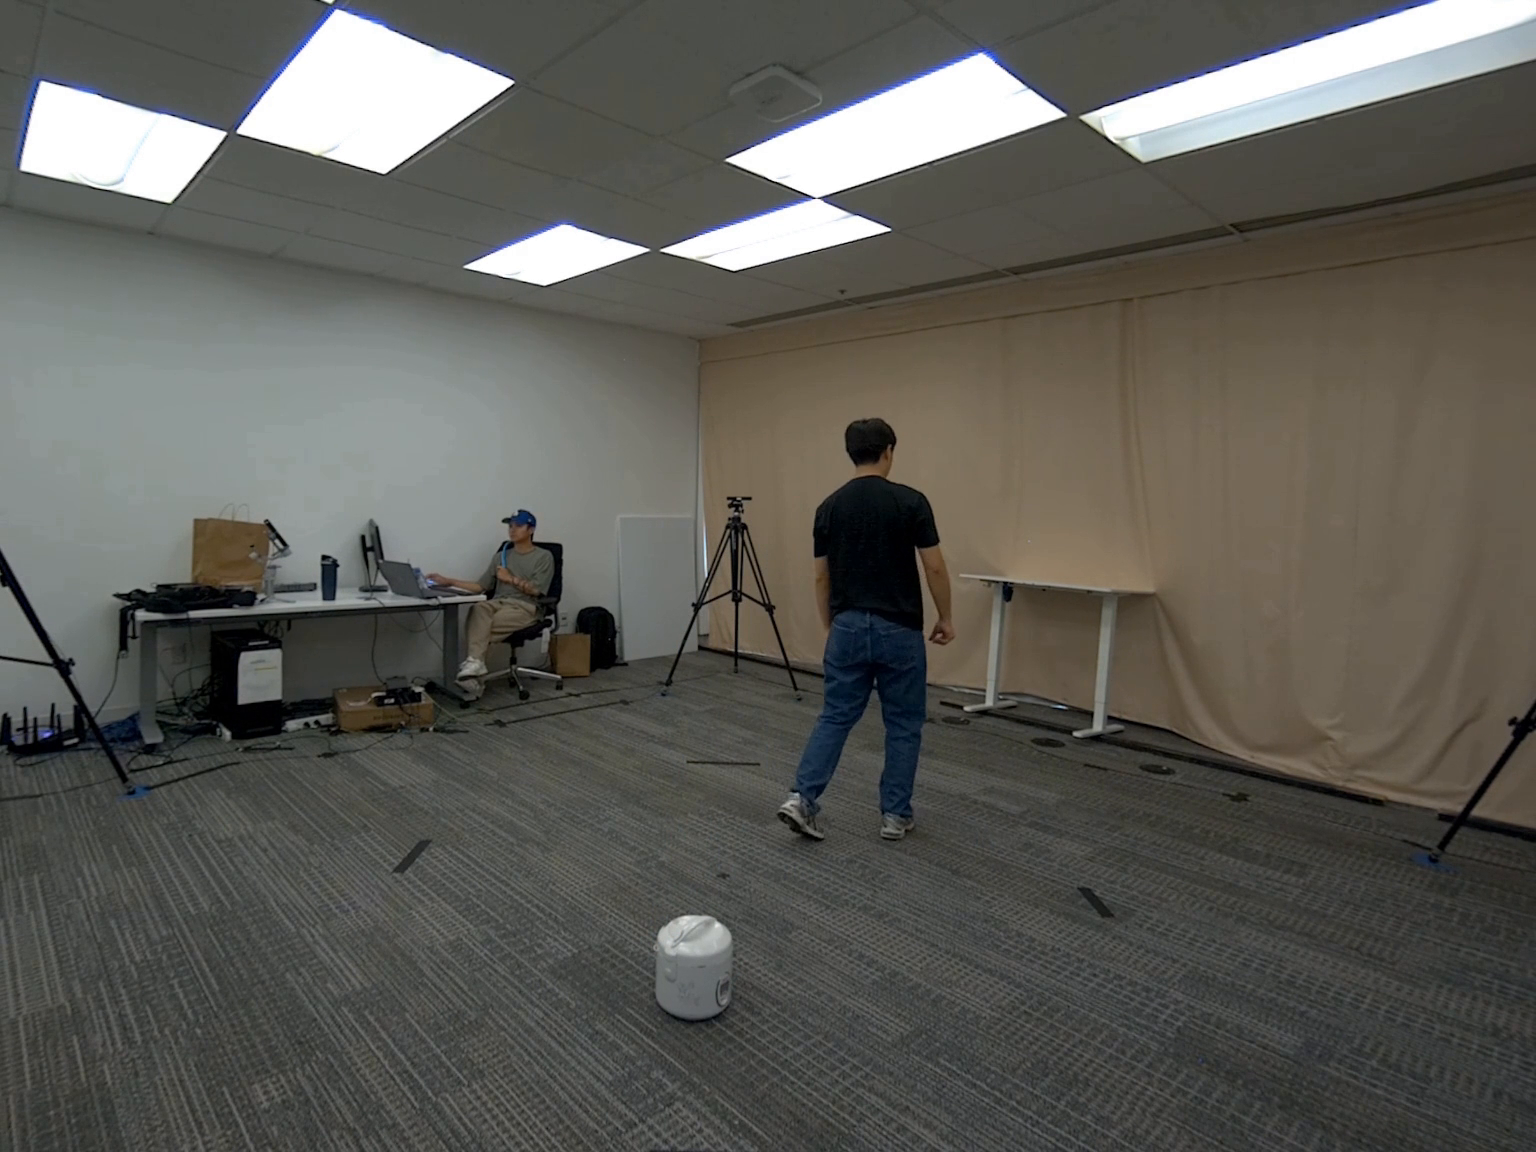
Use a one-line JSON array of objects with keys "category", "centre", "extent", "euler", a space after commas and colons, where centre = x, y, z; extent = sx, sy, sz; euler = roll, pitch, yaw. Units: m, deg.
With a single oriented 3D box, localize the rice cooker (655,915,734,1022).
[{"category": "rice cooker", "centre": [-0.205, 1.063, 2.311], "extent": [0.223, 0.232, 0.216], "euler": [4, 5, 37]}]
